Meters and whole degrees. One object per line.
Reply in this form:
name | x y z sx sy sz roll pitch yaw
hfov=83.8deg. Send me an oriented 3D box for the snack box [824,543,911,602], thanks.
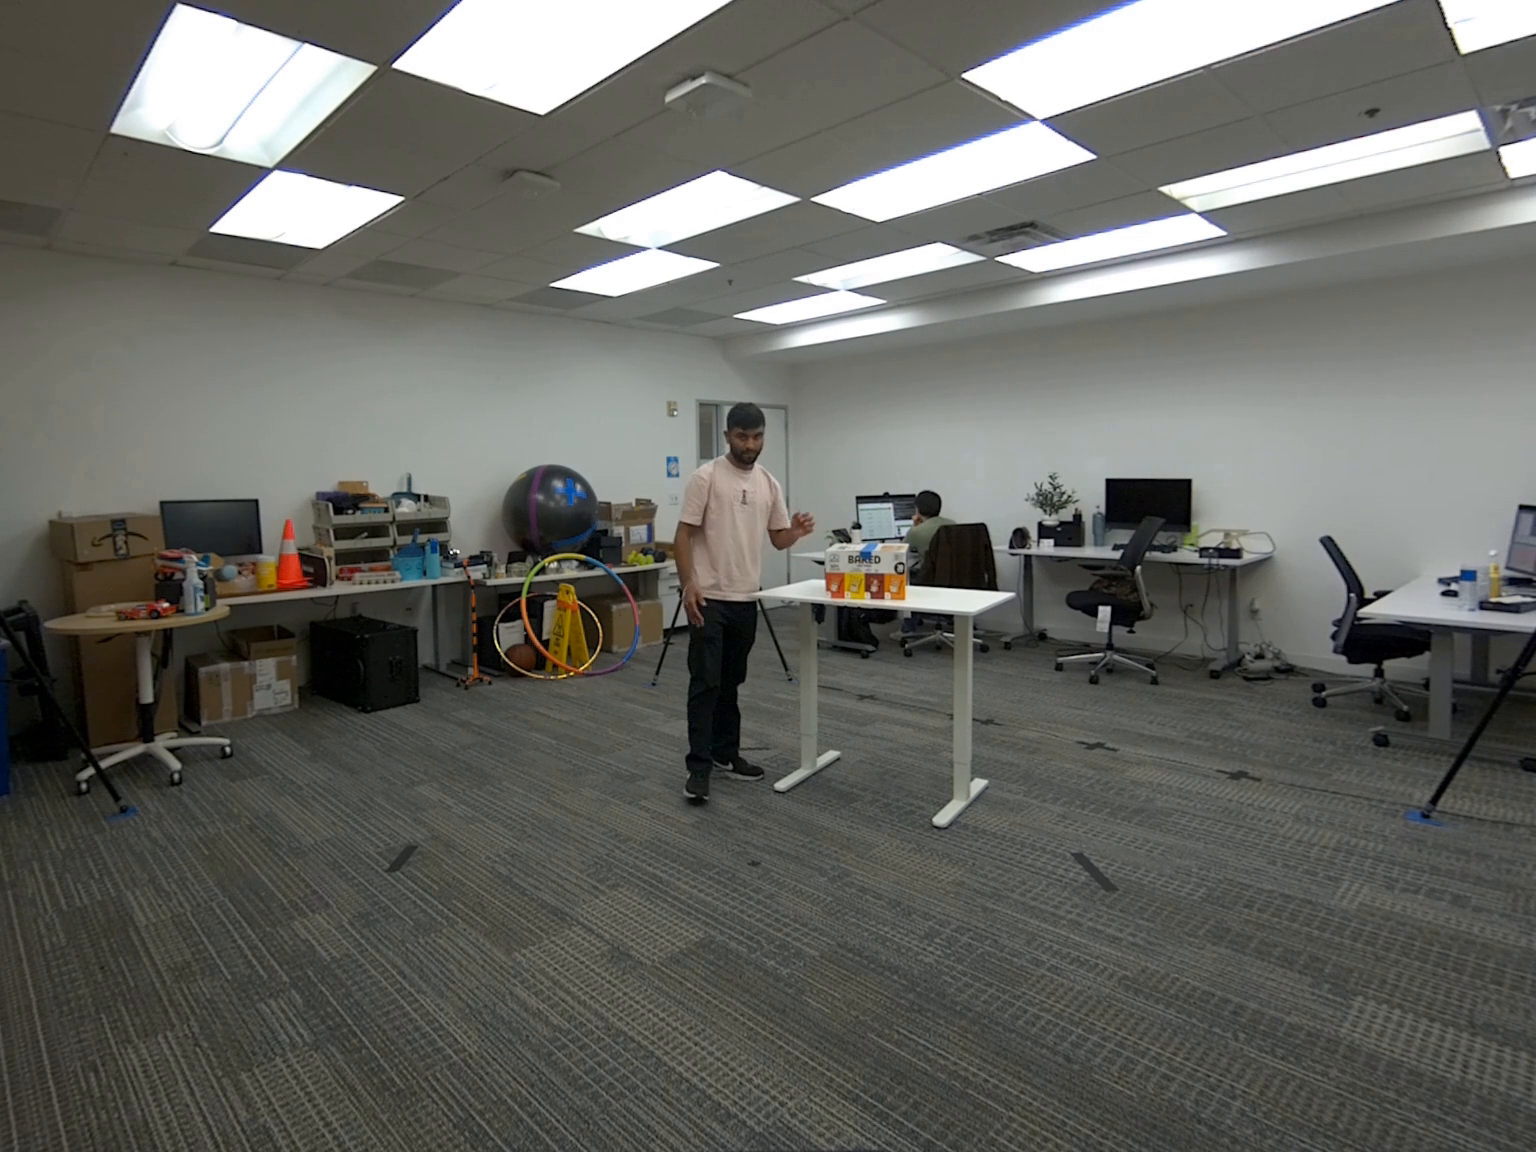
snack box | 0.447 -0.027 3.798 0.345 0.205 0.401 1 6 13
